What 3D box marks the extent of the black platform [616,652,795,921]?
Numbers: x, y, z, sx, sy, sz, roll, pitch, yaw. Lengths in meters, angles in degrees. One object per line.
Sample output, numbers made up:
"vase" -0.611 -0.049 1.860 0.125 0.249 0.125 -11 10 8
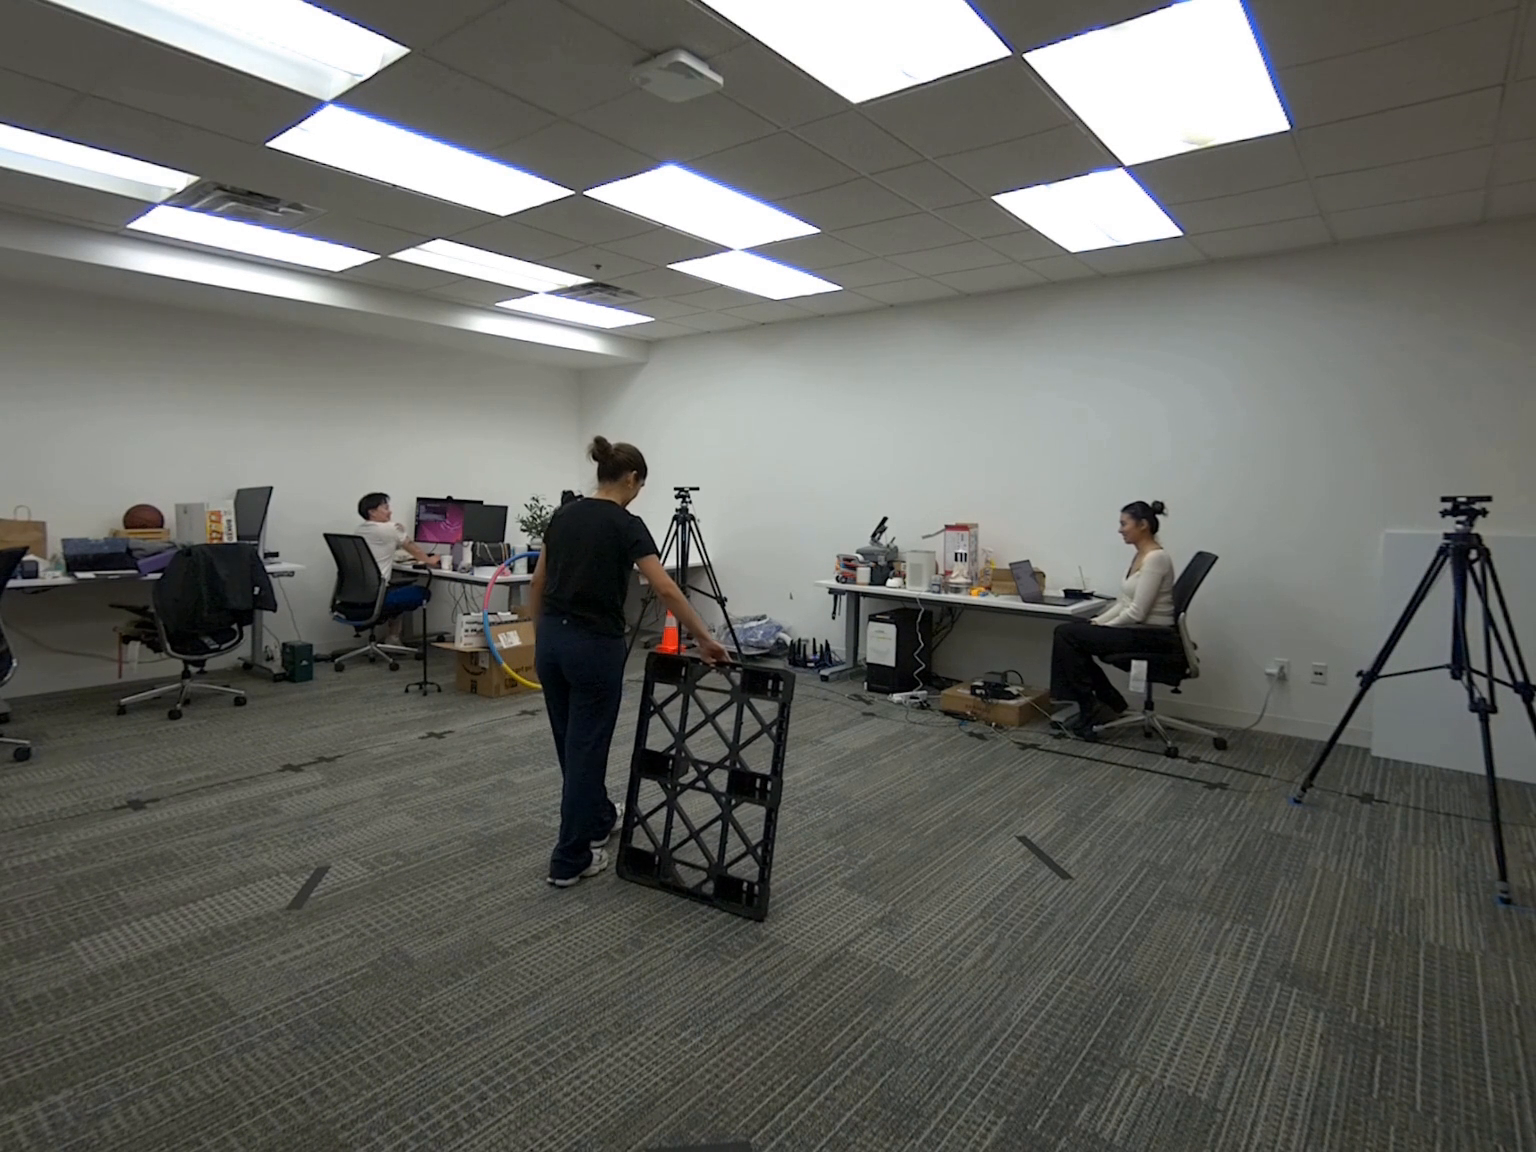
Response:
"black platform" -0.195 0.698 2.989 0.623 0.811 0.138 3 -9 31
